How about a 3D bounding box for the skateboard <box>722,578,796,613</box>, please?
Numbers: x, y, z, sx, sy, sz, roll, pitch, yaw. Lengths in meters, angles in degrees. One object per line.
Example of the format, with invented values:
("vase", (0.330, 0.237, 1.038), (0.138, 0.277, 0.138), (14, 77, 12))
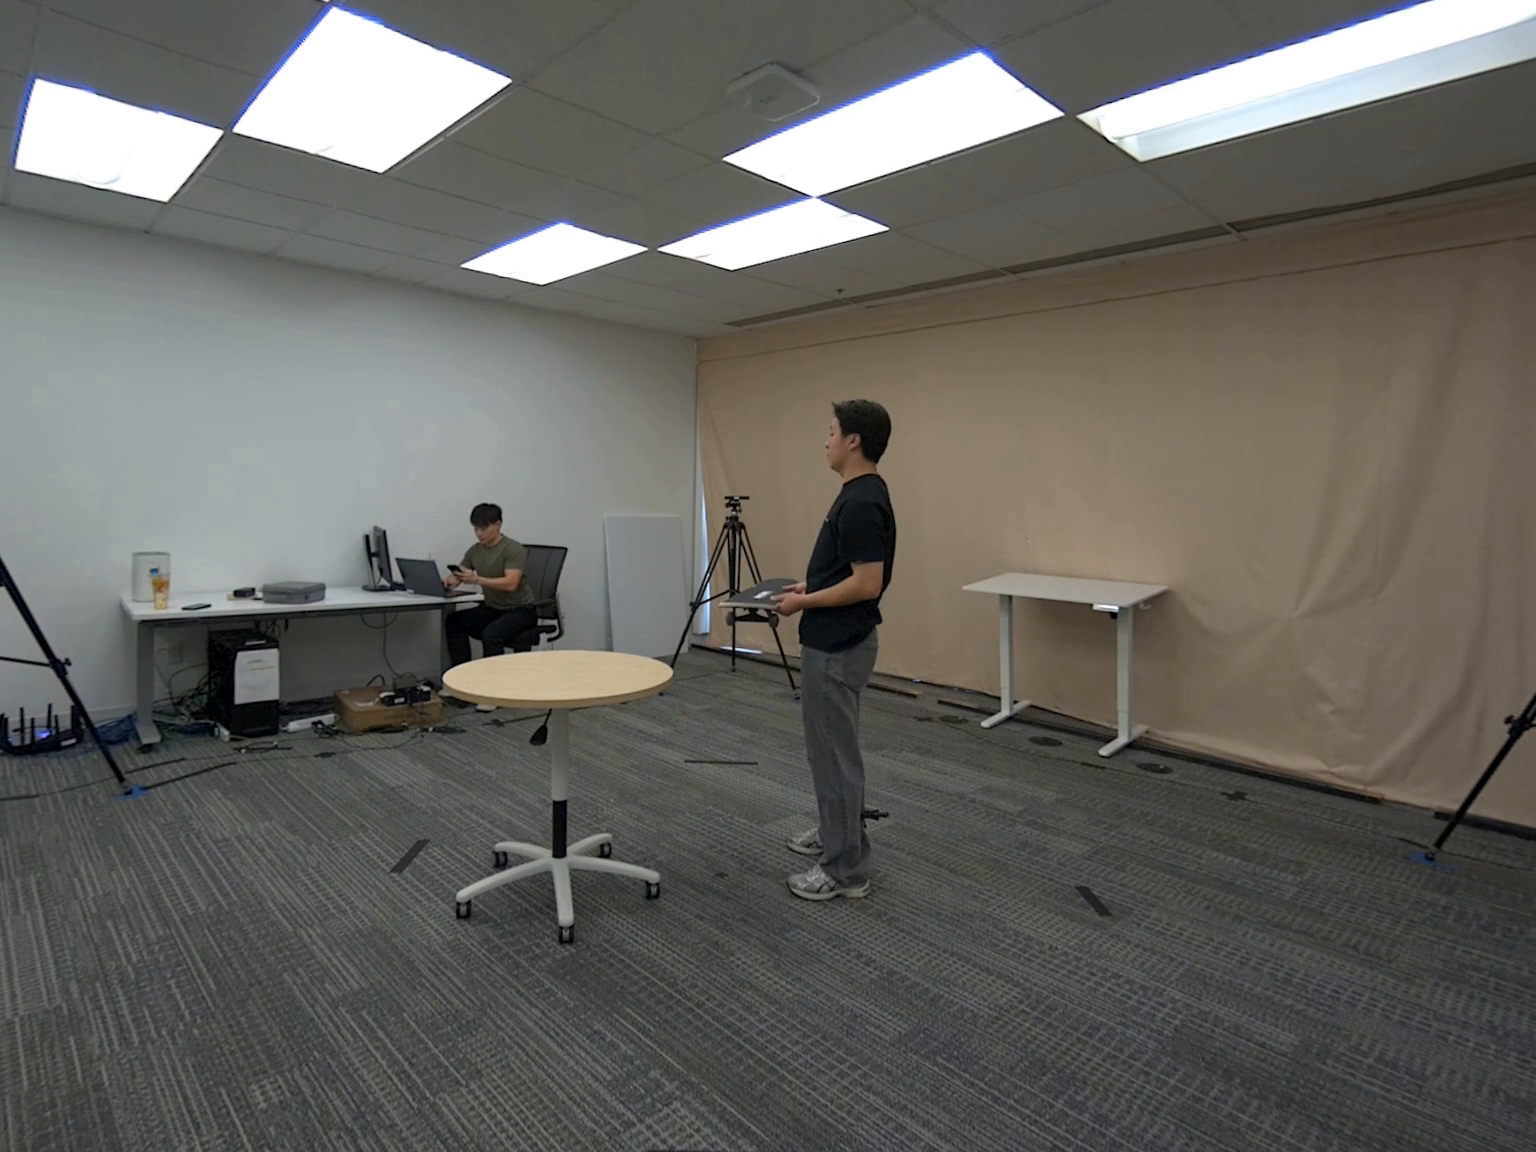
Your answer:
("skateboard", (-0.023, 0.118, 3.148), (0.196, 0.110, 0.779), (1, 6, 13))
